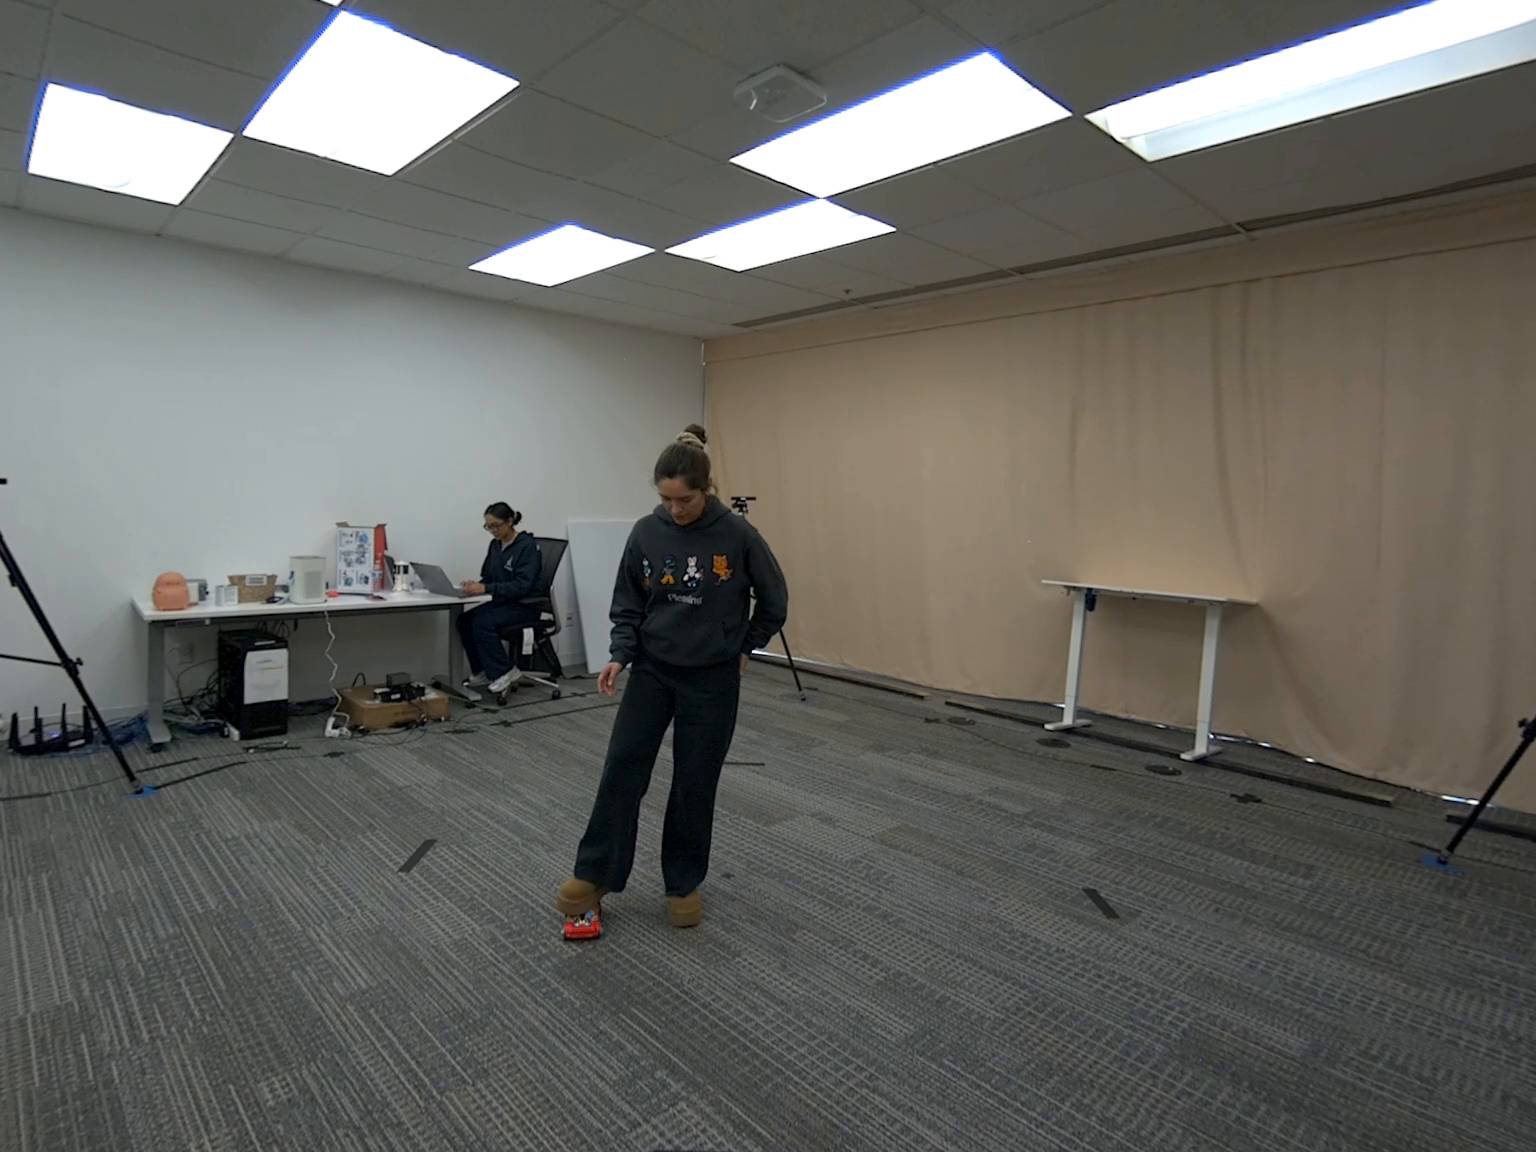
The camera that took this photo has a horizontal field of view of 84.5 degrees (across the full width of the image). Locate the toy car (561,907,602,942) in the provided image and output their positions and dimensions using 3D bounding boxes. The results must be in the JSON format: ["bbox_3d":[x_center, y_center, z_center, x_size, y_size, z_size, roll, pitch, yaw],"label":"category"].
[{"bbox_3d":[-0.607,1.102,2.739,0.129,0.082,0.259,1,16,-9],"label":"toy car"}]
